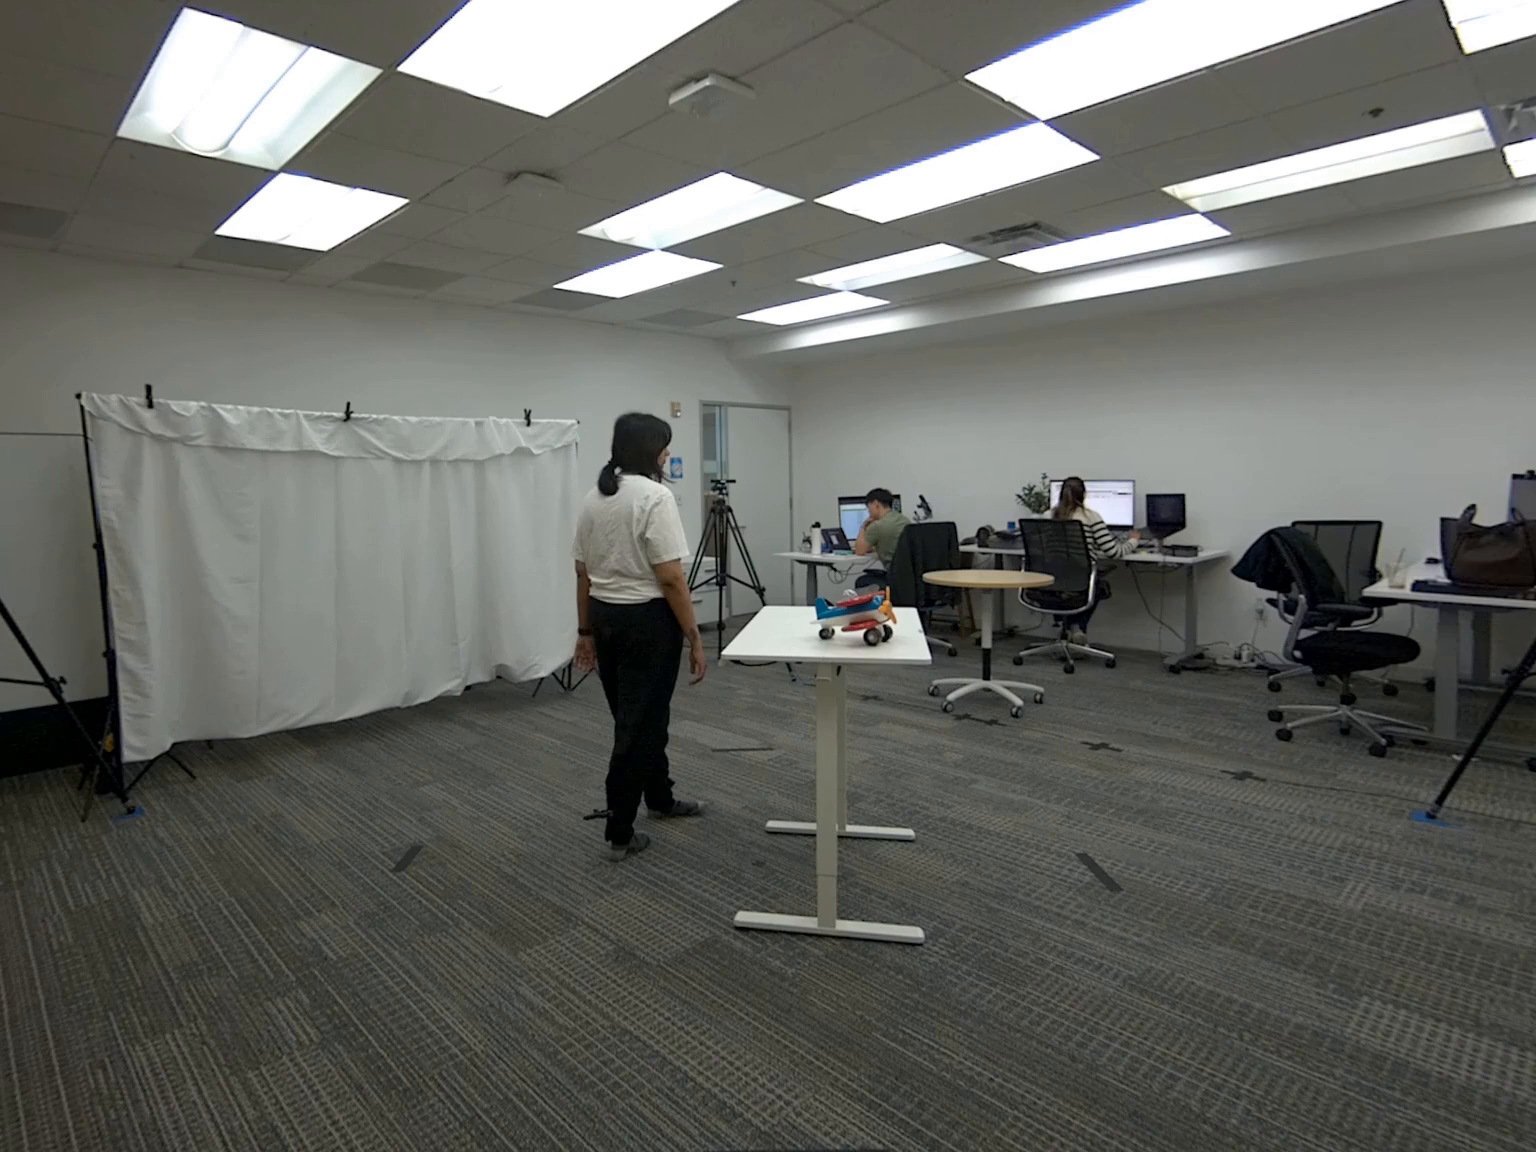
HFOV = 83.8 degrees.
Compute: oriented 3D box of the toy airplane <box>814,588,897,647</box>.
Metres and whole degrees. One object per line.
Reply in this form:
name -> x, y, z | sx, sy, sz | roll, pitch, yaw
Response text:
toy airplane -> 0.267, 0.129, 2.658 | 0.260, 0.156, 0.251 | 2, 5, 4
